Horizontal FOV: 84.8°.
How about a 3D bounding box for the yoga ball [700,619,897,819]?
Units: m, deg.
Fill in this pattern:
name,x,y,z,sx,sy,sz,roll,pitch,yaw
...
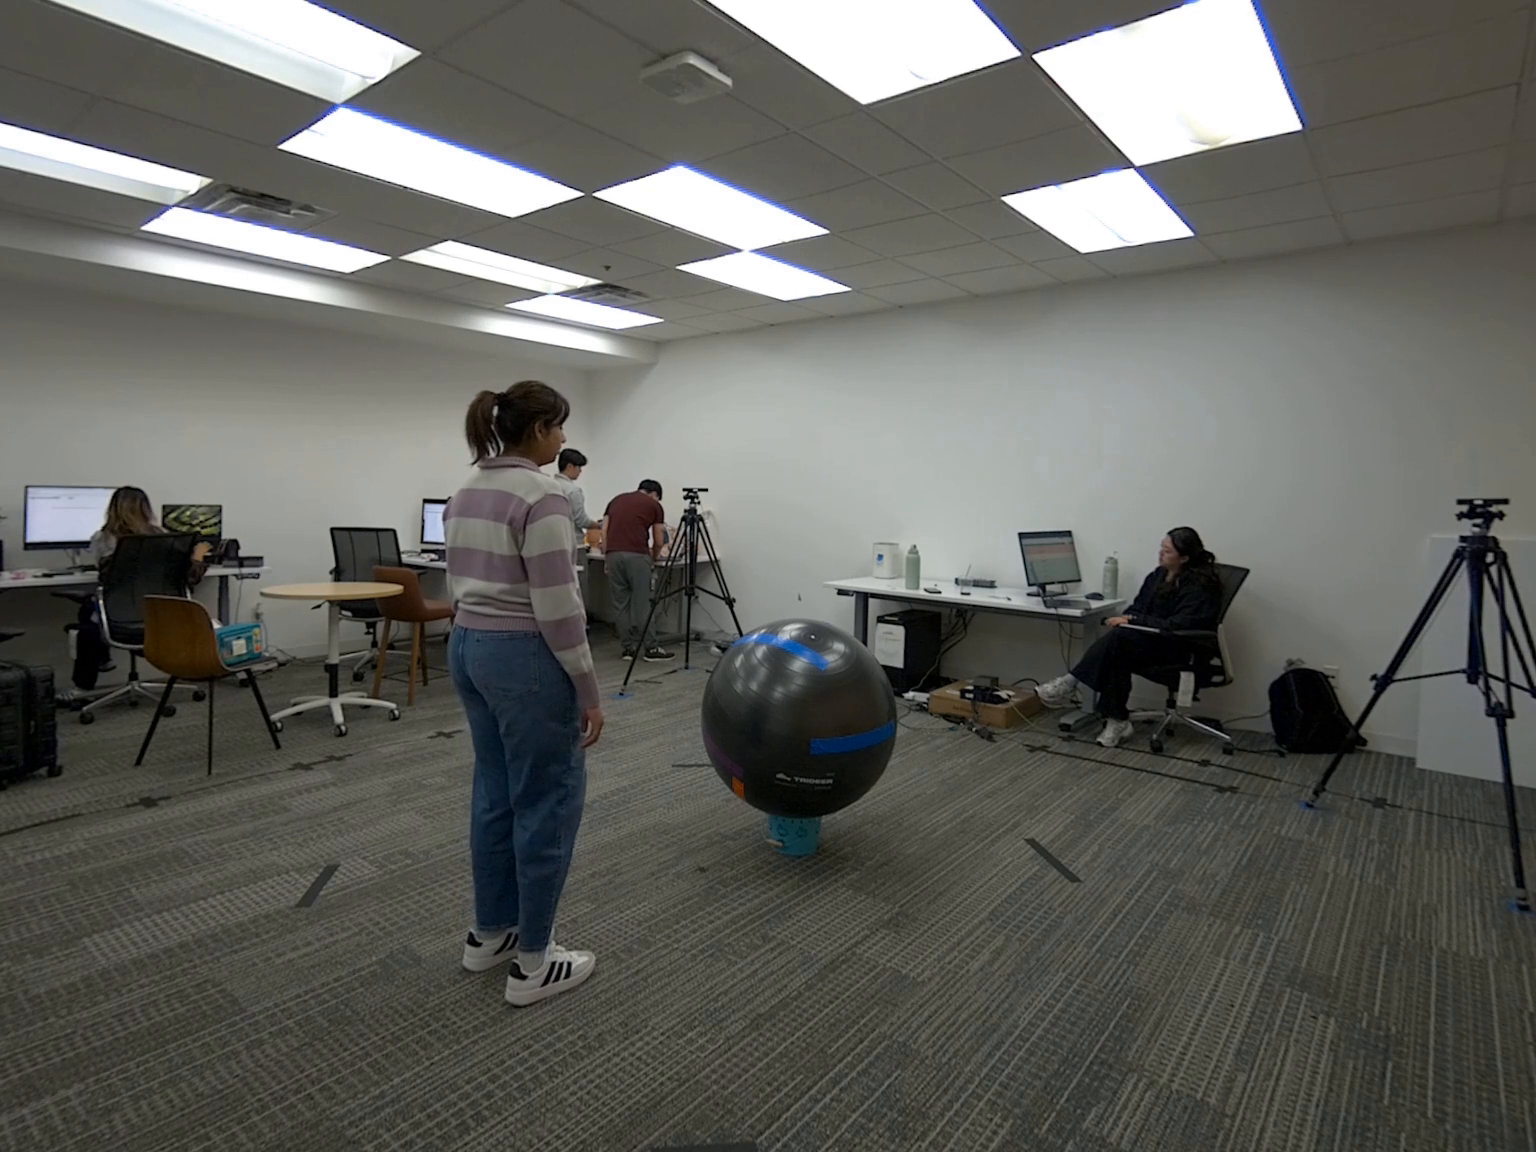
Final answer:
name,x,y,z,sx,sy,sz,roll,pitch,yaw
yoga ball,0.117,0.549,3.306,0.757,0.756,0.762,1,4,-2
